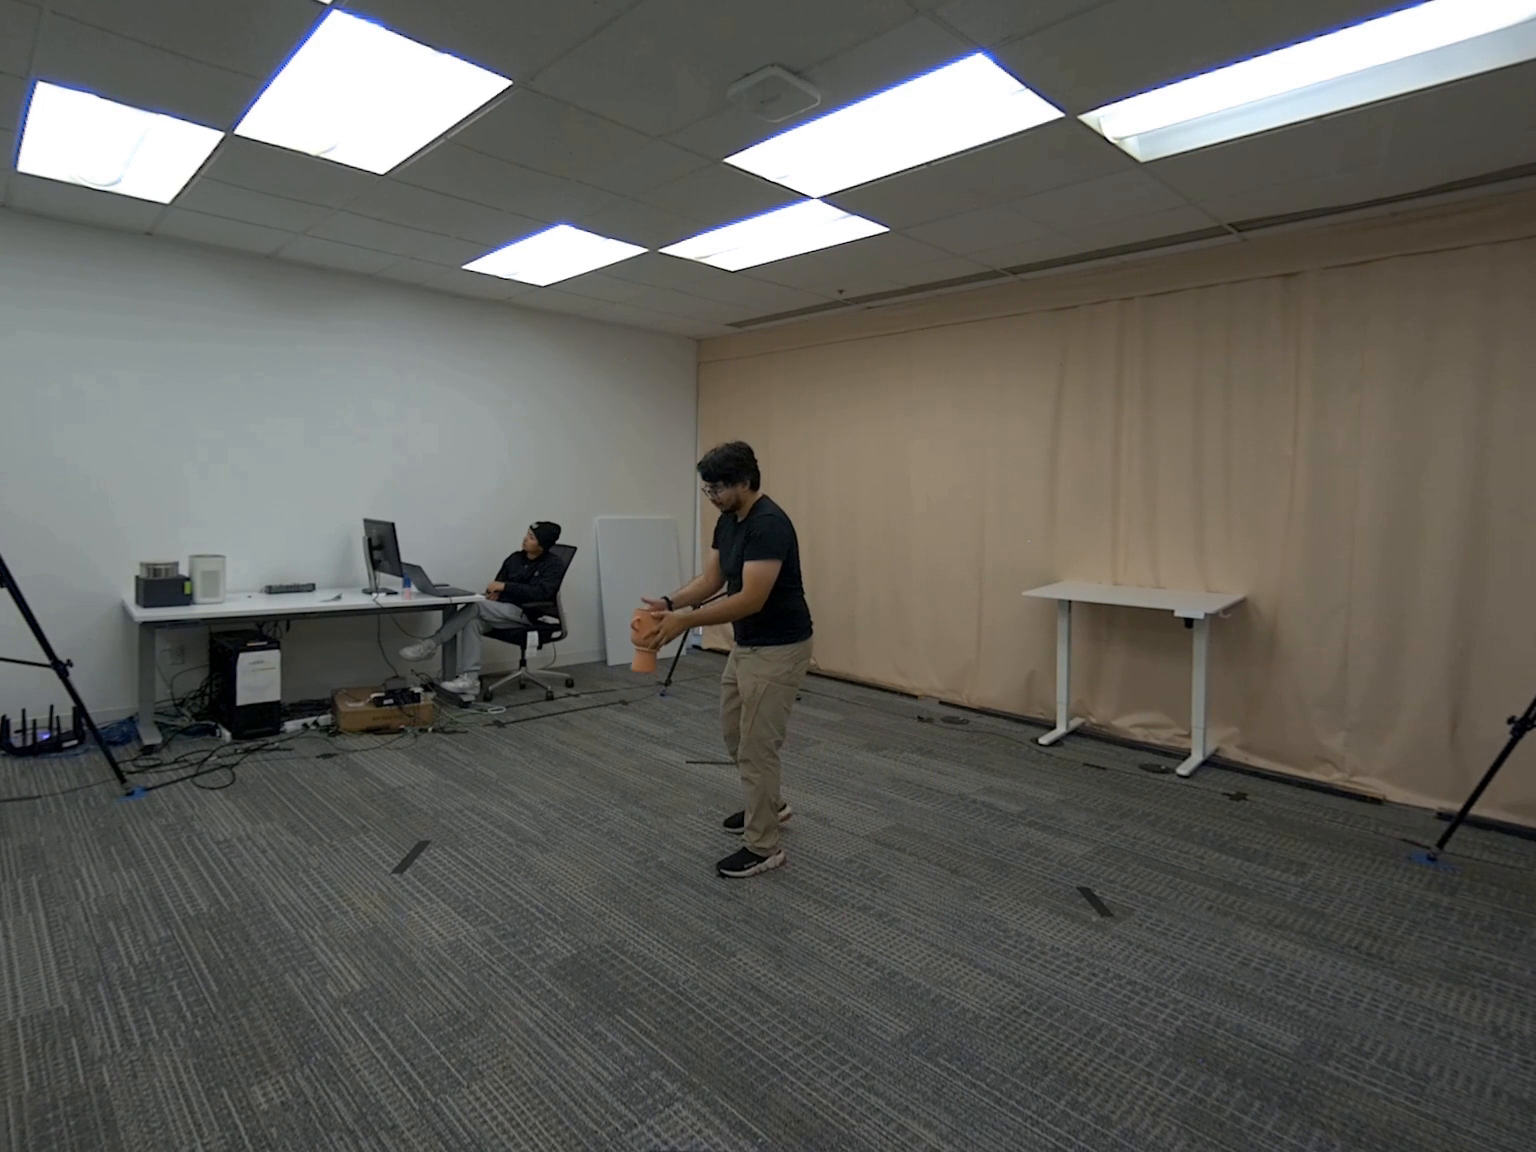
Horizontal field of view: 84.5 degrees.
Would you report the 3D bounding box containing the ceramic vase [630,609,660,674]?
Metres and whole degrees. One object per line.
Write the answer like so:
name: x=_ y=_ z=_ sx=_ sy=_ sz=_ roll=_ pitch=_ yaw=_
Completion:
ceramic vase: x=-0.442 y=0.241 z=3.081 sx=0.157 sy=0.220 sz=0.136 roll=9 pitch=-2 yaw=-13
